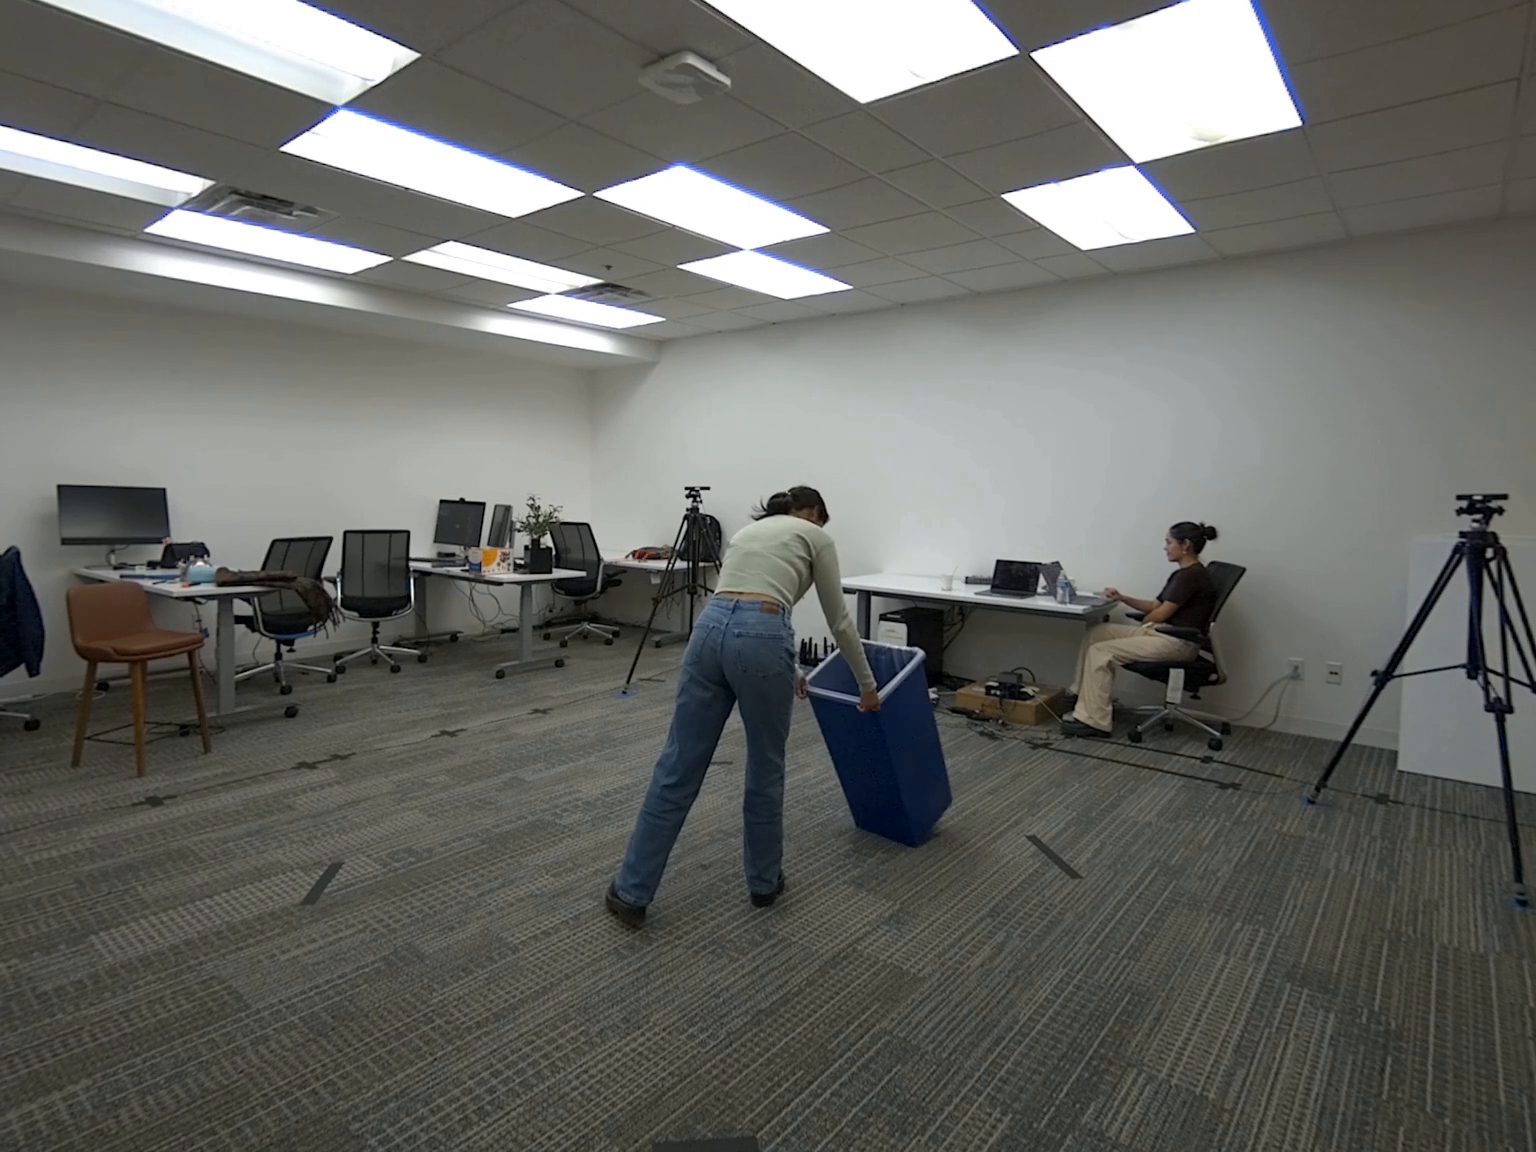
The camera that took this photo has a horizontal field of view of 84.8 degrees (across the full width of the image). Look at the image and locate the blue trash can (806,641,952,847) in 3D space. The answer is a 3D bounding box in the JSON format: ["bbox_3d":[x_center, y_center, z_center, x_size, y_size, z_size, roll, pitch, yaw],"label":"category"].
[{"bbox_3d":[0.437,0.664,3.376,0.391,0.697,0.370,3,28,46],"label":"blue trash can"}]
